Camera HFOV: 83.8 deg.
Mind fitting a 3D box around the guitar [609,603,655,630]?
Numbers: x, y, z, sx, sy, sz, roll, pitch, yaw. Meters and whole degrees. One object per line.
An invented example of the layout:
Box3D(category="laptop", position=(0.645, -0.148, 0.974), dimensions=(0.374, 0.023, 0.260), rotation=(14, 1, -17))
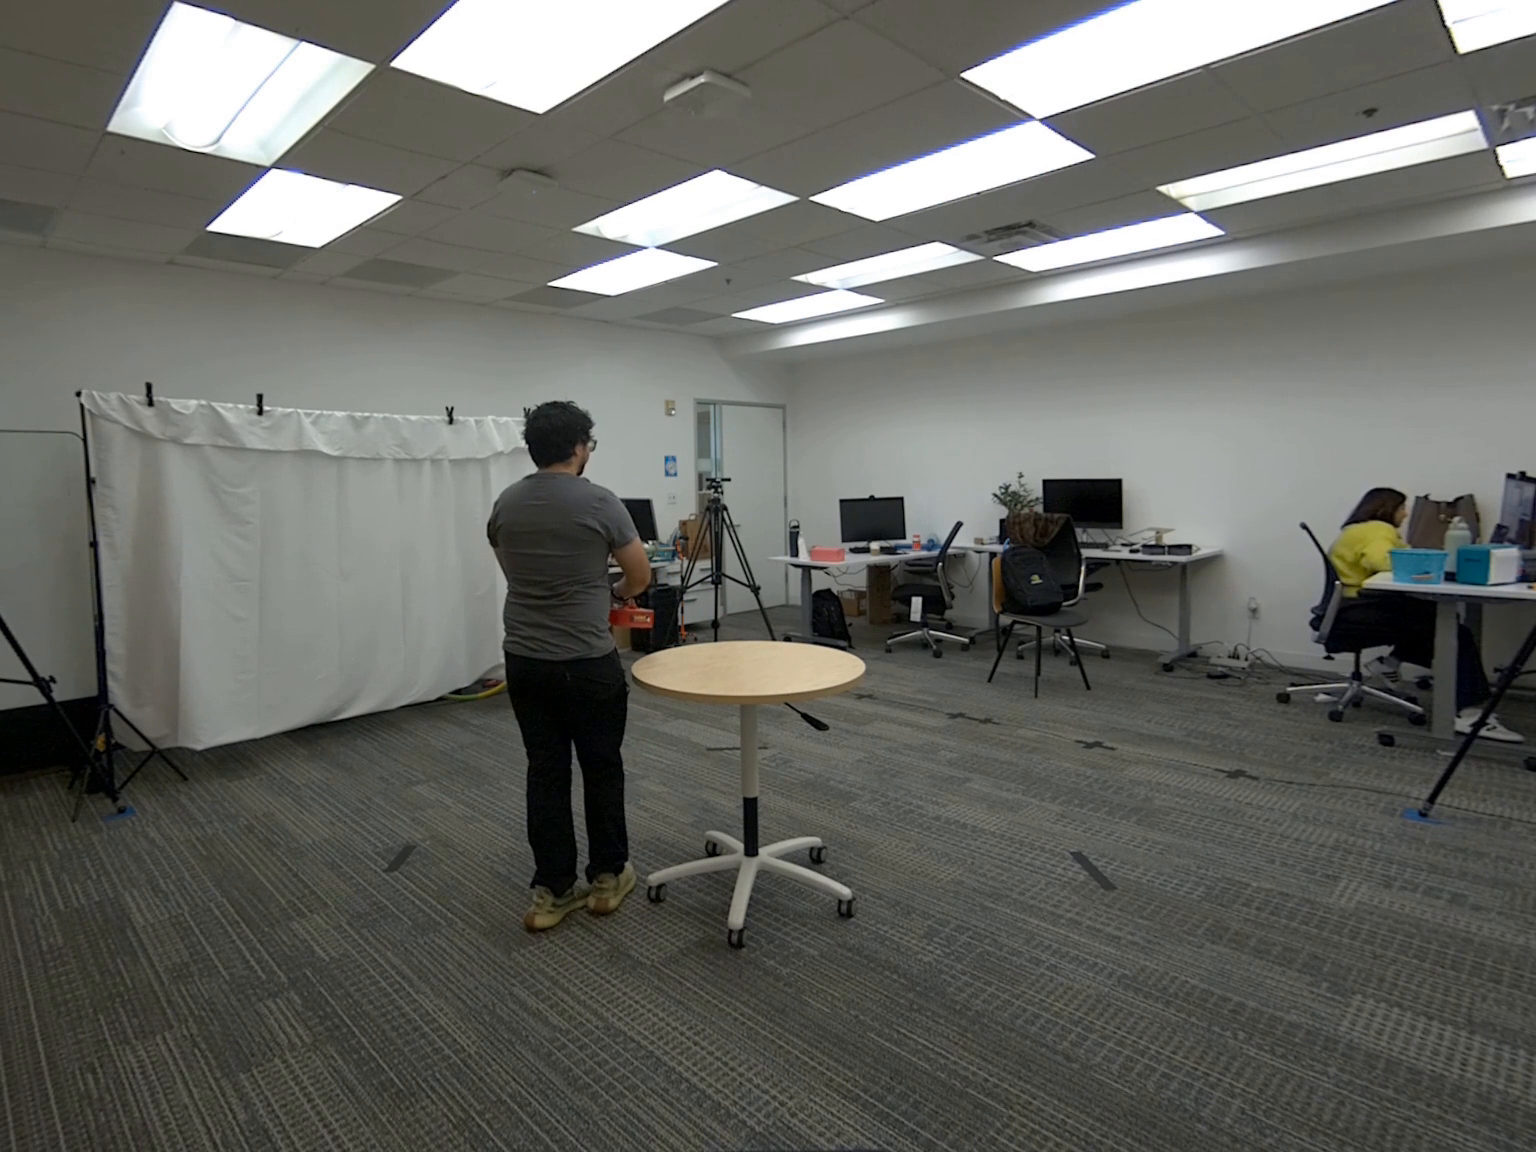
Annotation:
Box3D(category="guitar", position=(-0.596, 0.131, 3.186), dimensions=(0.187, 0.071, 0.513), rotation=(6, 2, -36))
